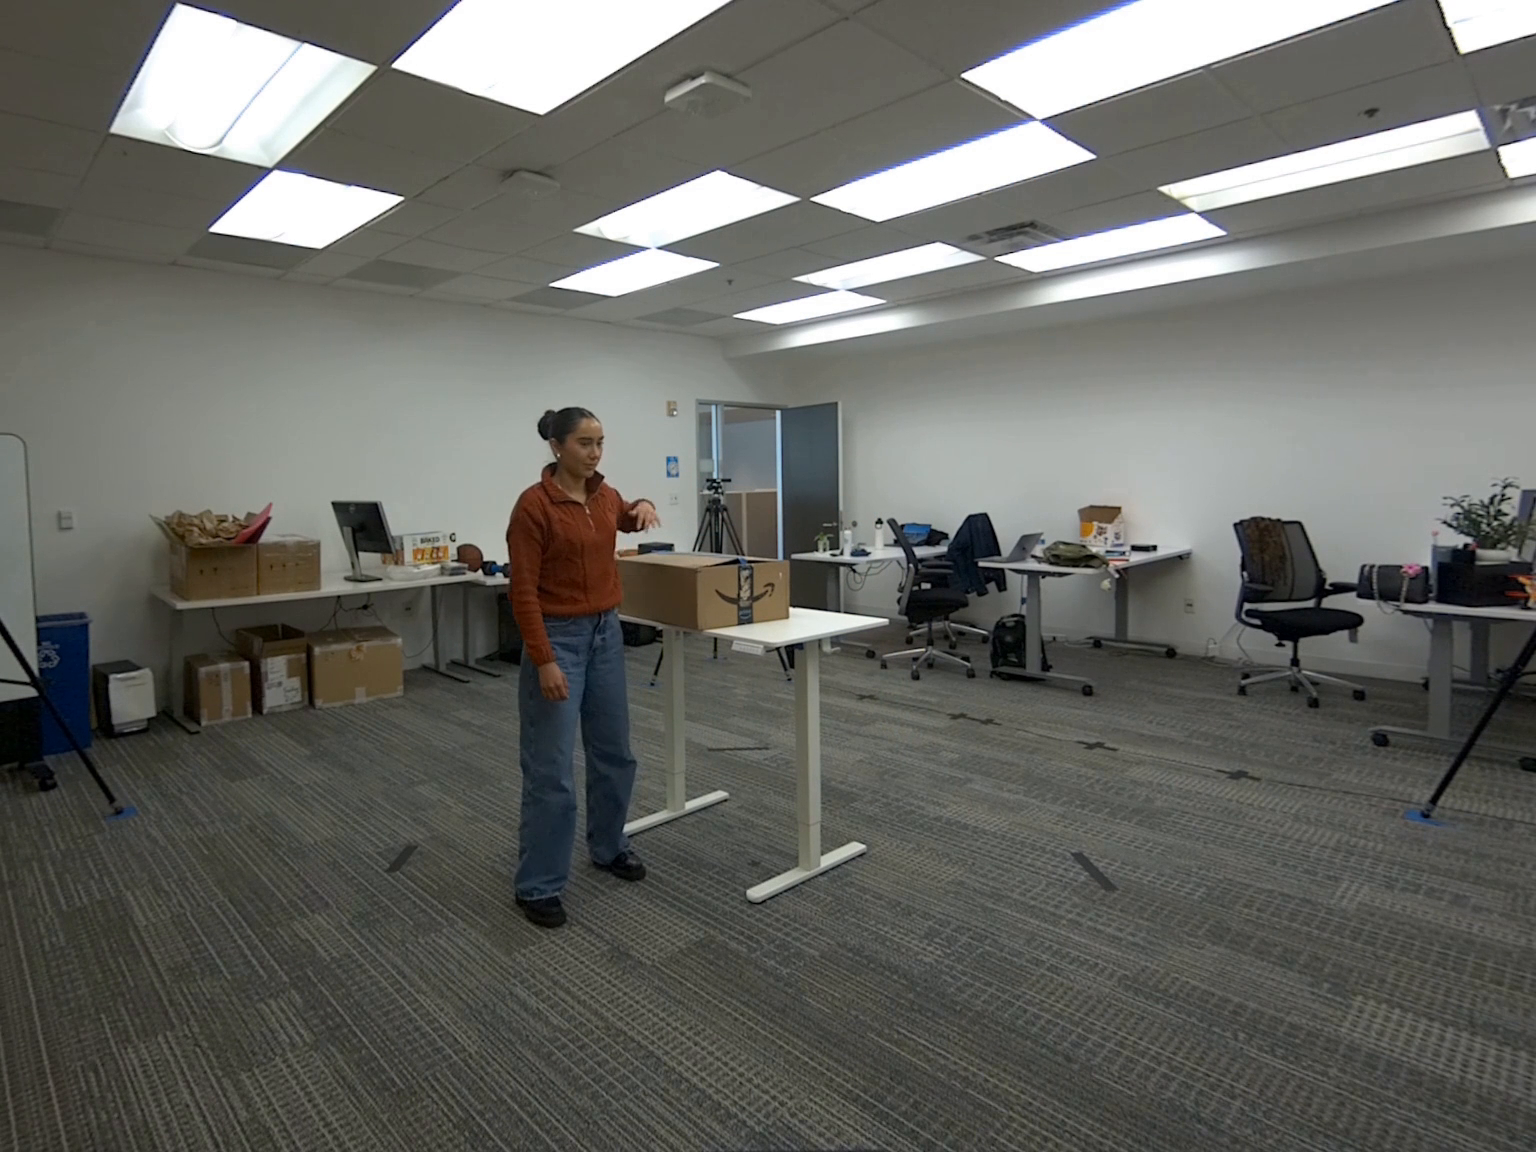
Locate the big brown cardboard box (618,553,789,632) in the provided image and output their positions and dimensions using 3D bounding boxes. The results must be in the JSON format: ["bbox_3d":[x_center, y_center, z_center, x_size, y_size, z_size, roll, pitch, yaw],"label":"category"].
[{"bbox_3d":[-0.257,0.043,3.229,0.407,0.232,0.606,-5,6,-39],"label":"big brown cardboard box"}]
